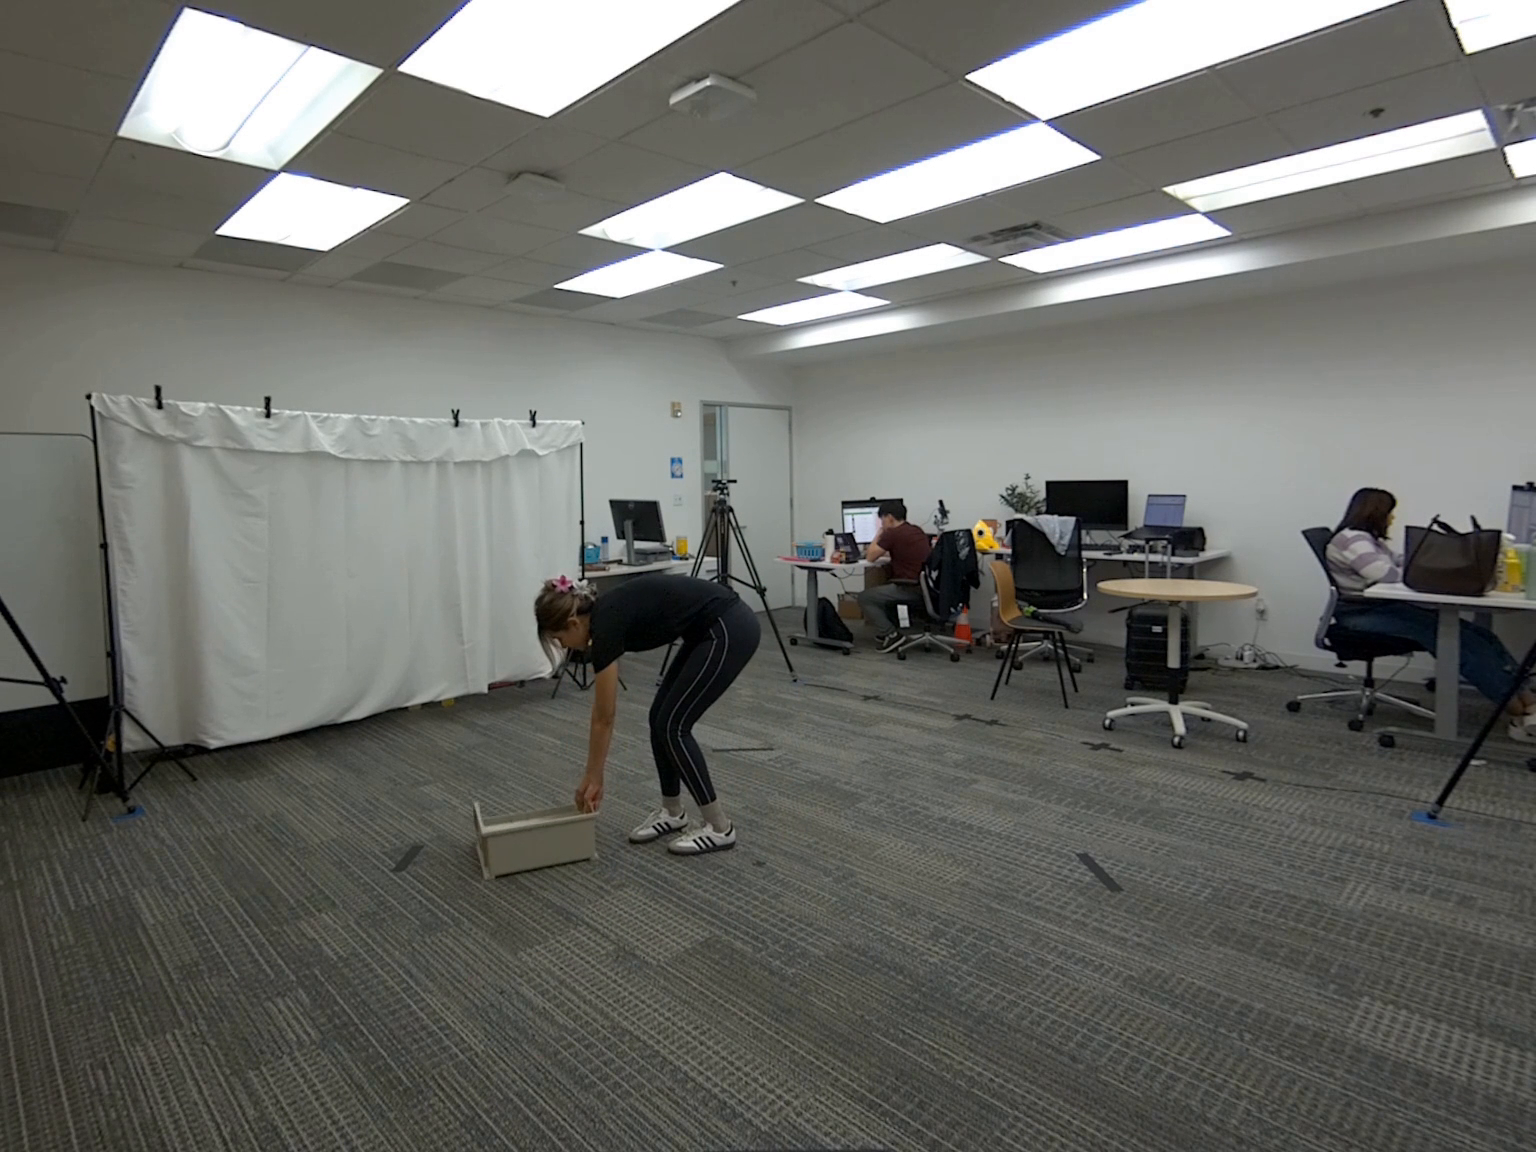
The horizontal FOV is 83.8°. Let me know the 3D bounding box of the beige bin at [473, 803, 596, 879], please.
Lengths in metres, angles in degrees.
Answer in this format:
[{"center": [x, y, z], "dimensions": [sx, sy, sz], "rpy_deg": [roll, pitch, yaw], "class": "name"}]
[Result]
[{"center": [-0.883, 0.955, 3.251], "dimensions": [0.414, 0.188, 0.387], "rpy_deg": [-3, 8, -23], "class": "beige bin"}]
